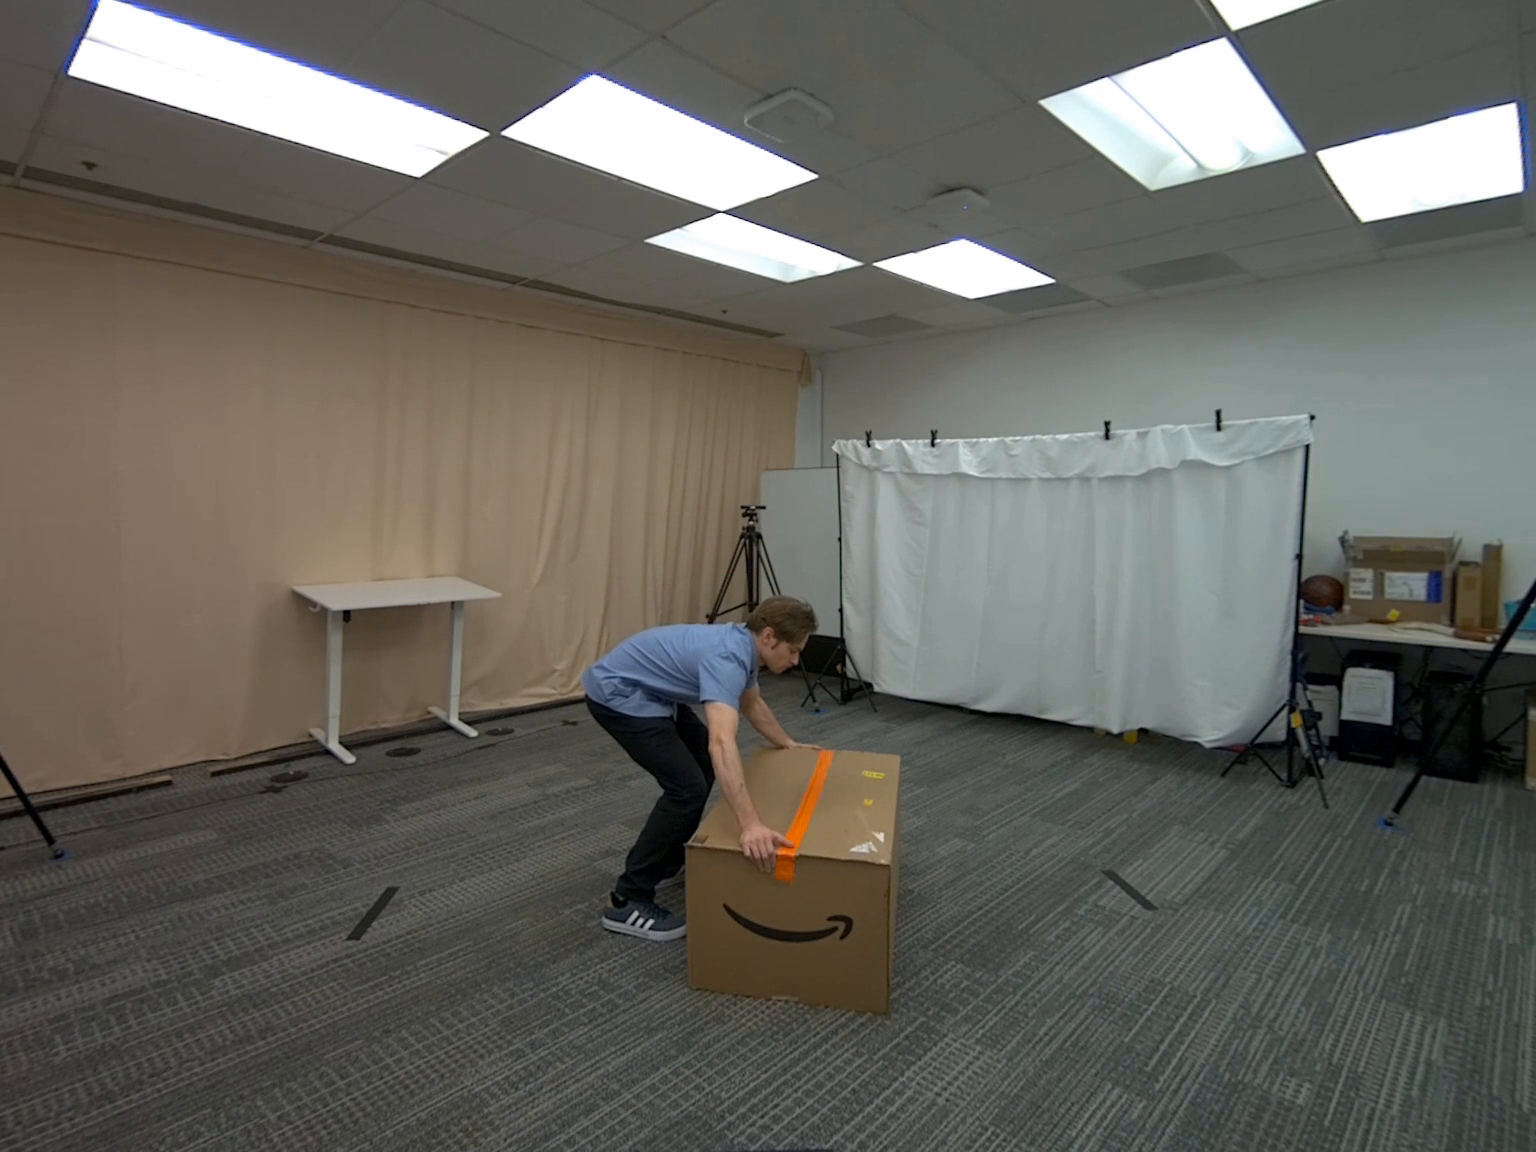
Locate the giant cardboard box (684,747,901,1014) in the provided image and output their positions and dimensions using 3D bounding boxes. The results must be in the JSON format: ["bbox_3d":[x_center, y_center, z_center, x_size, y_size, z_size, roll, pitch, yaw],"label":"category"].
[{"bbox_3d":[0.147,0.940,2.847,0.592,0.445,1.016,-1,5,11],"label":"giant cardboard box"}]
